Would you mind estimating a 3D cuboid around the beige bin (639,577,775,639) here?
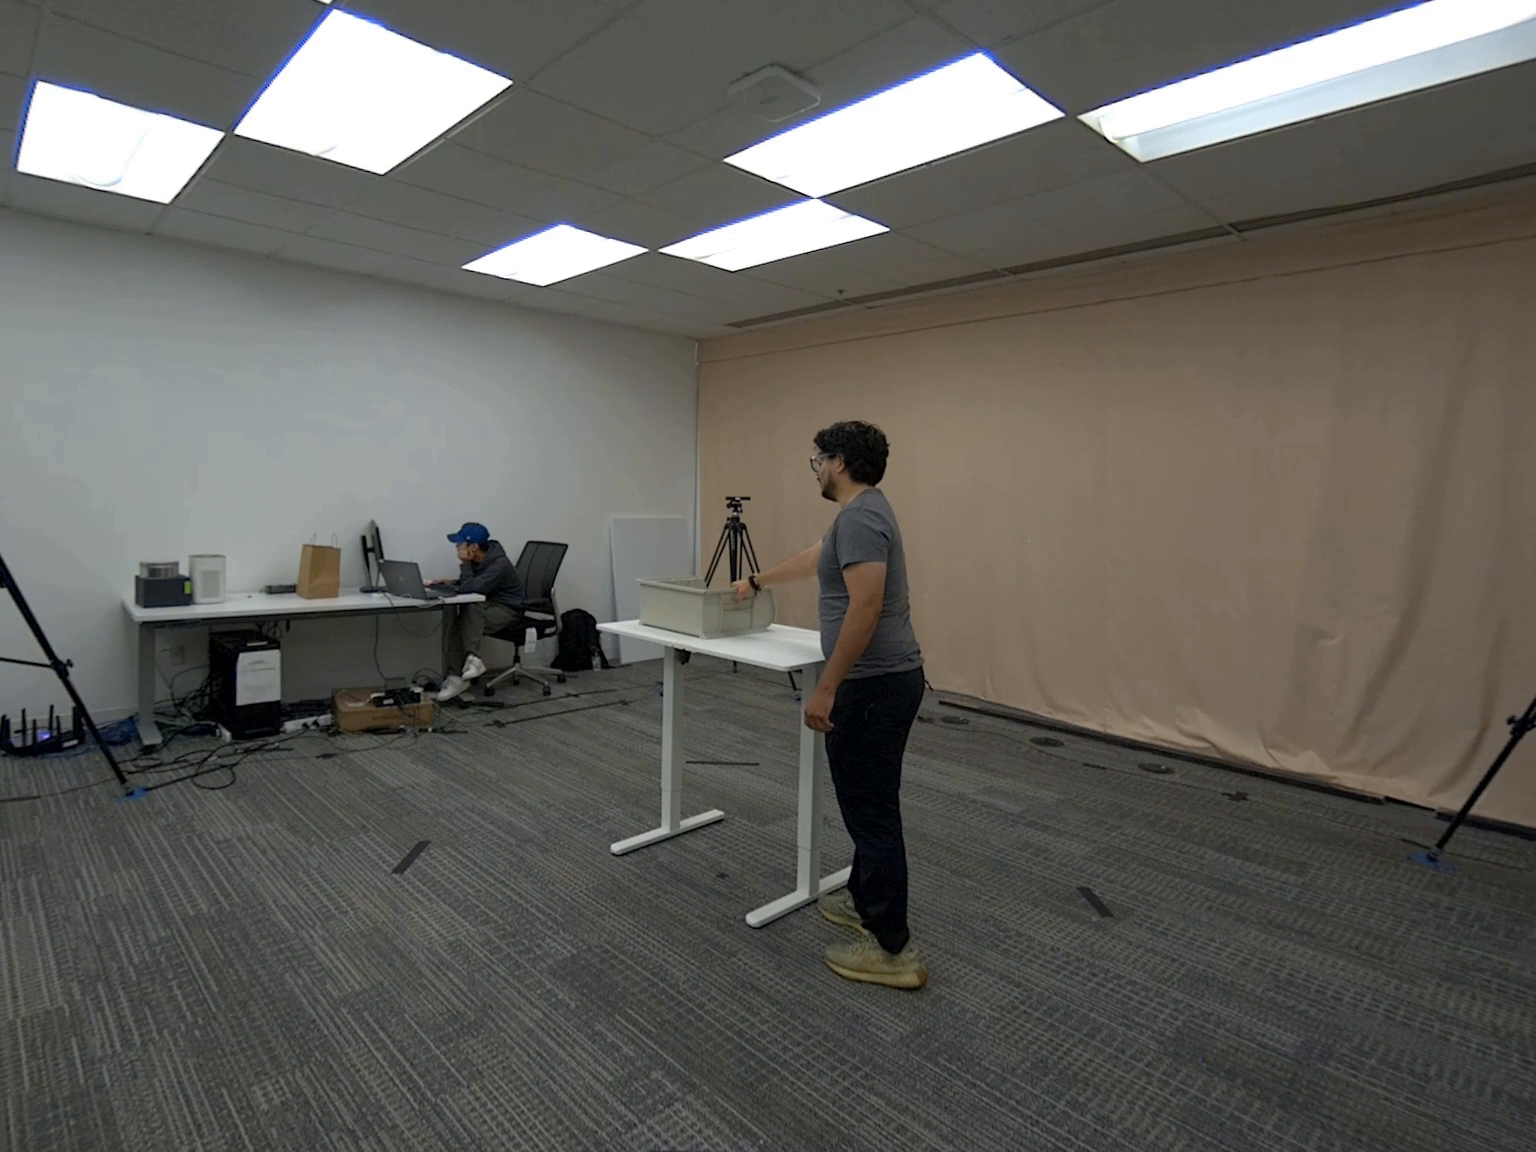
[{"bbox_3d":[-0.248,0.116,3.286,0.369,0.188,0.433,-5,9,-43],"label":"beige bin"}]
